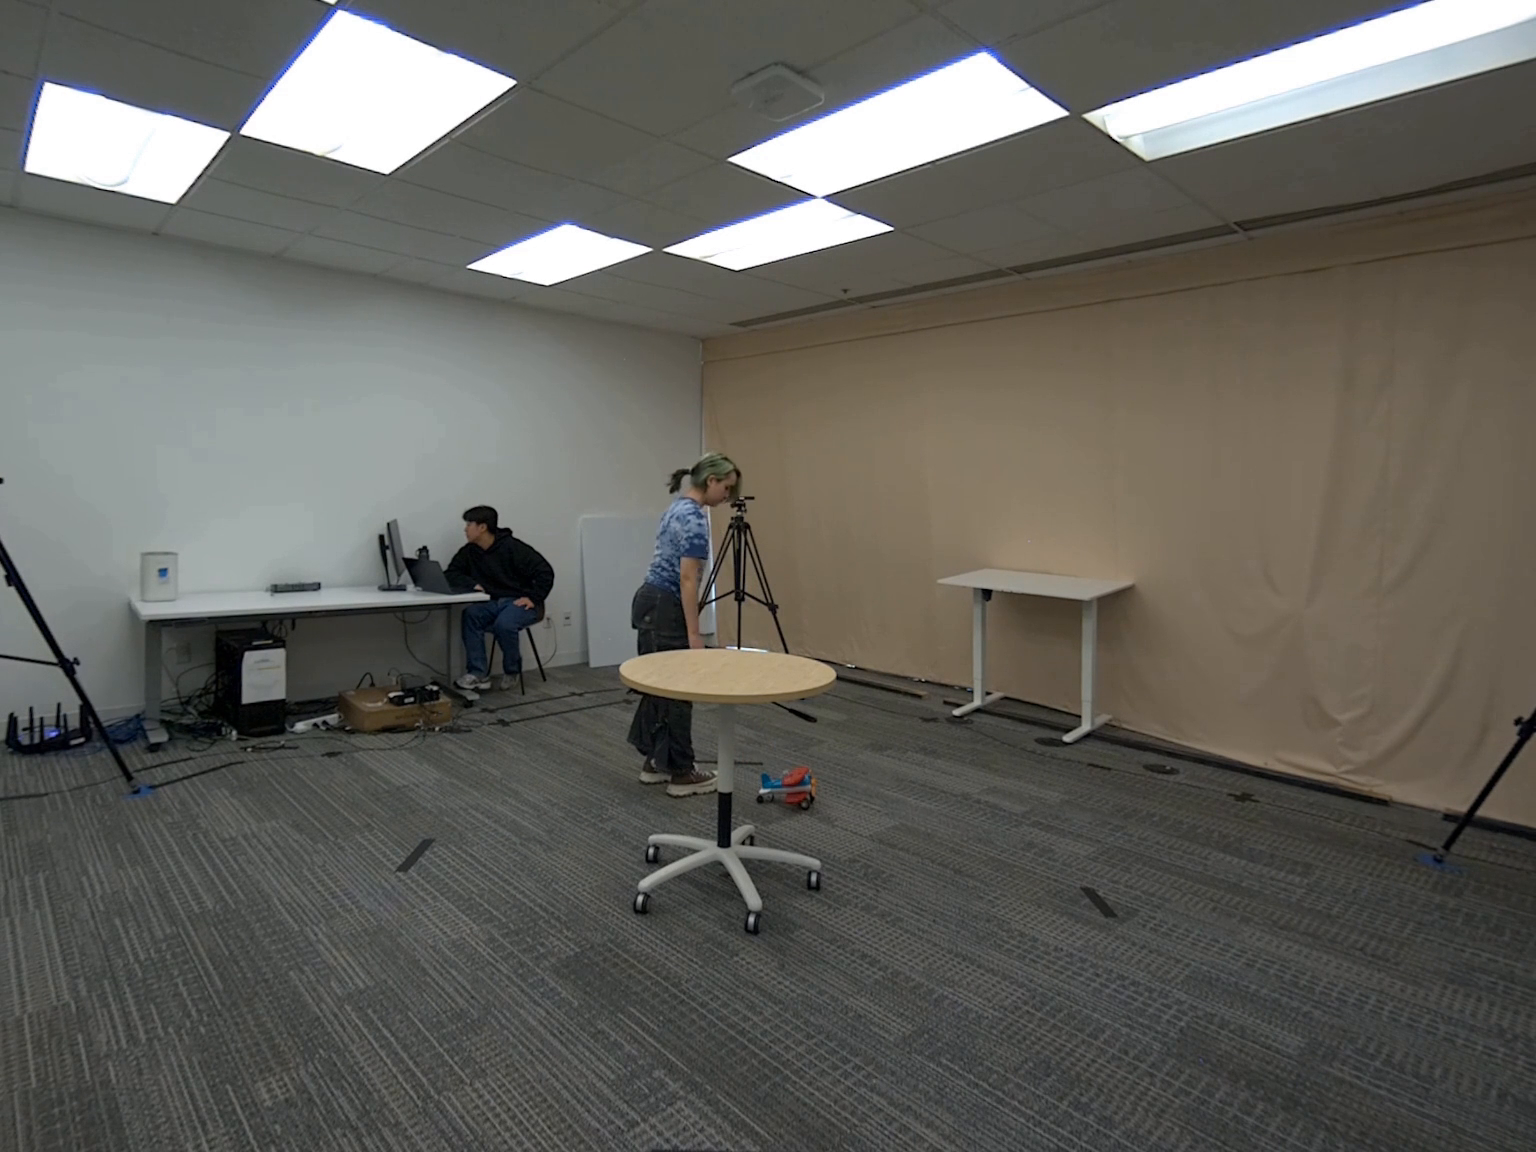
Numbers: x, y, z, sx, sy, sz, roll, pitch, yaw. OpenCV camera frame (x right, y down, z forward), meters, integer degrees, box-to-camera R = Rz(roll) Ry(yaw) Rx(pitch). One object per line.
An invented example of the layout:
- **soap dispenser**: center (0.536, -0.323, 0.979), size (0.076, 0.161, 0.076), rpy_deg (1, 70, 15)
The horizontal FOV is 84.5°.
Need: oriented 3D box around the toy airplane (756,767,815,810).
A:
- **toy airplane**: center (0.081, 0.973, 3.836), size (0.257, 0.156, 0.254), rpy_deg (2, 4, -12)
